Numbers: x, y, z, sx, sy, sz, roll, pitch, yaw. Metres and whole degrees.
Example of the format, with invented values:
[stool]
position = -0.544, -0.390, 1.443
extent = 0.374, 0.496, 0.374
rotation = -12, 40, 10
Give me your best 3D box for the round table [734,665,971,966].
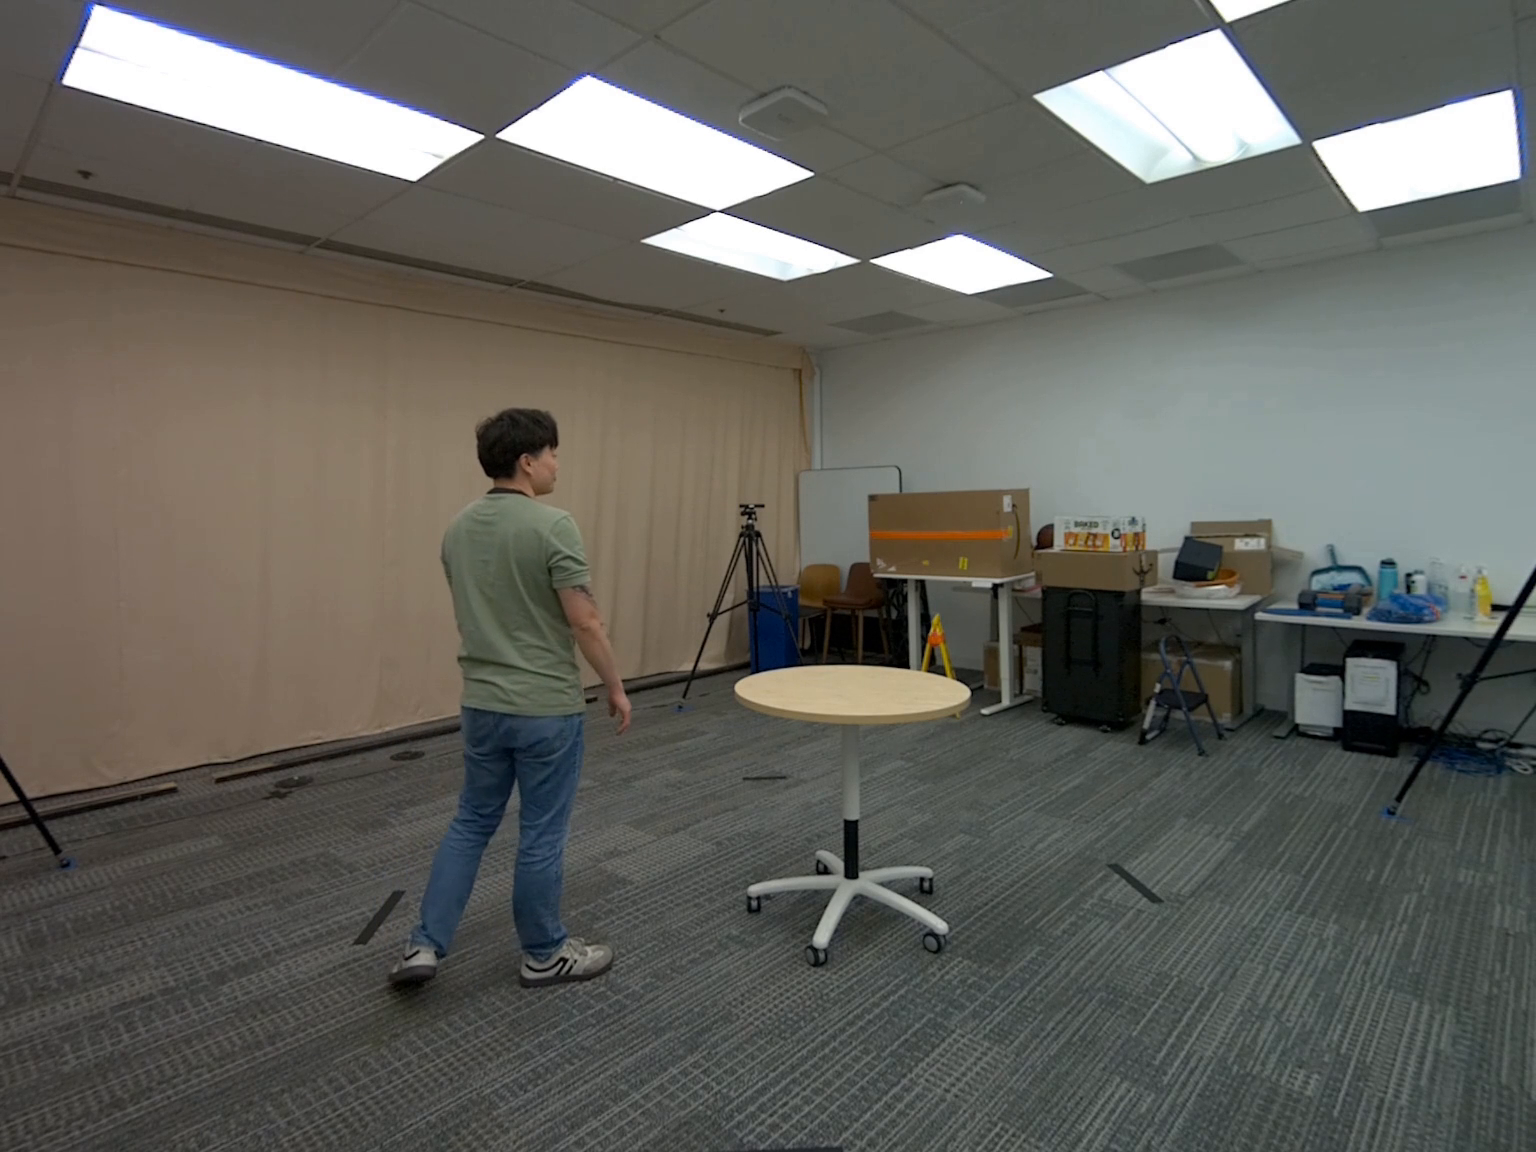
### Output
[round table]
position = 0.282, 0.761, 2.808
extent = 0.763, 0.792, 0.766
rotation = -1, 4, -2
